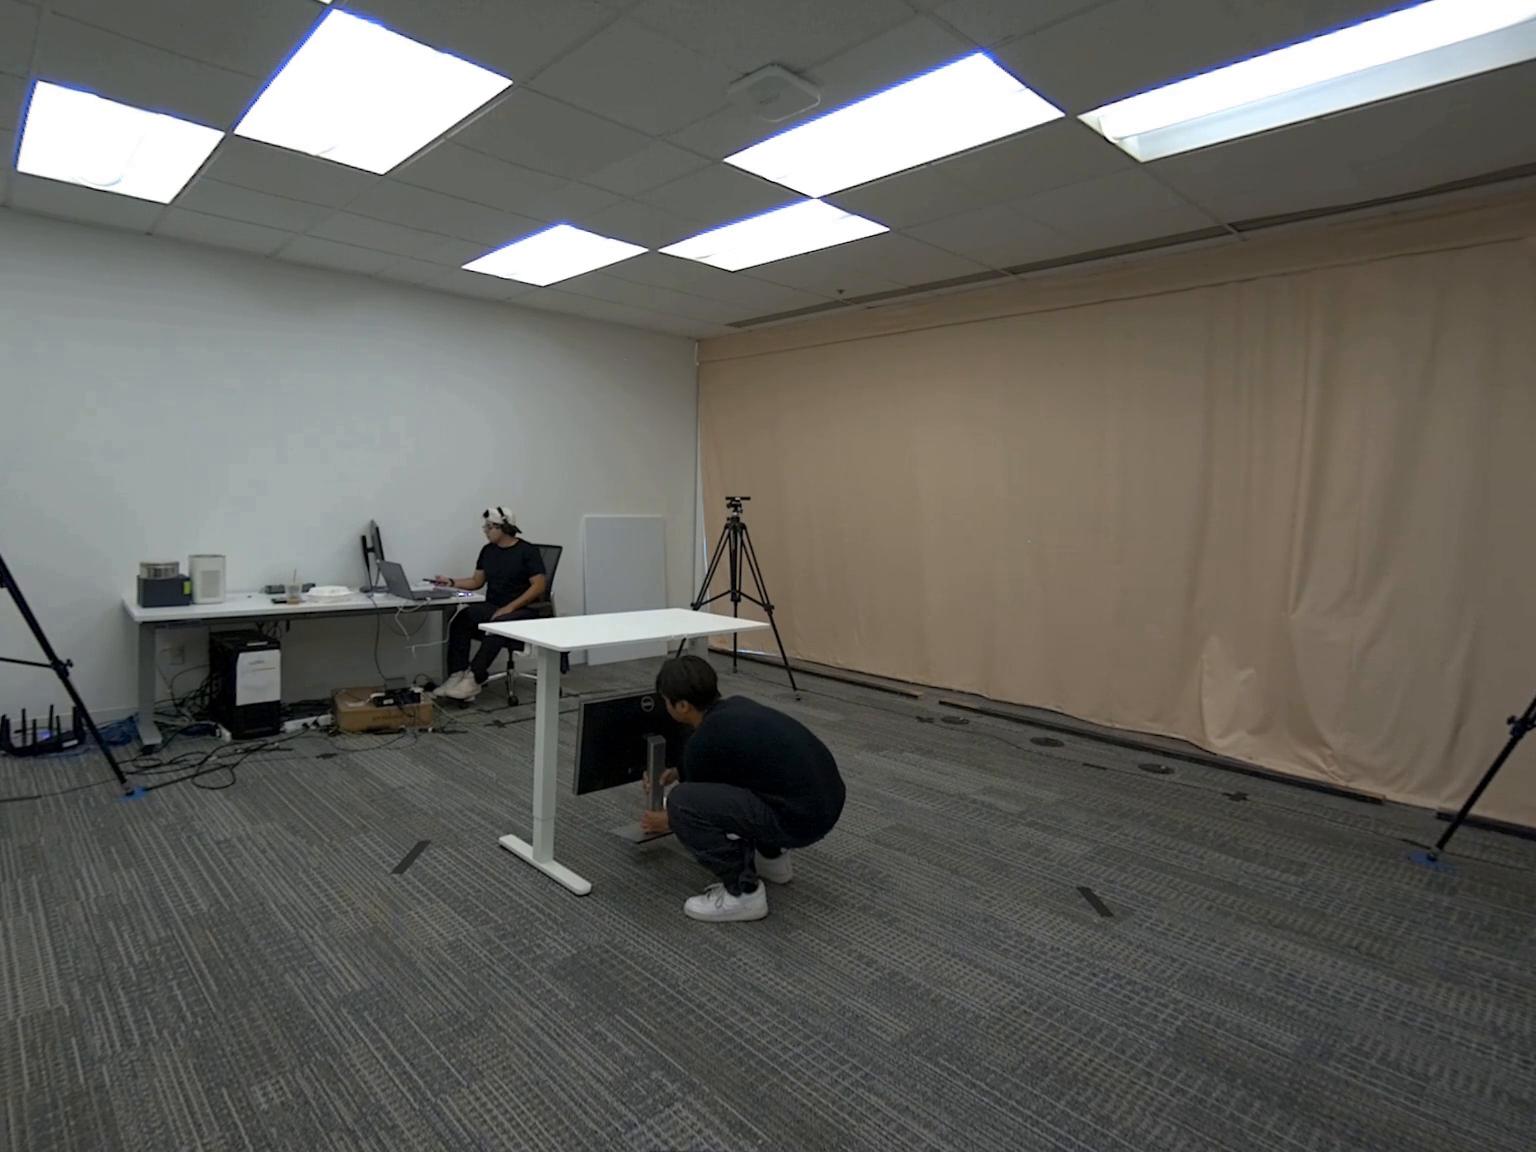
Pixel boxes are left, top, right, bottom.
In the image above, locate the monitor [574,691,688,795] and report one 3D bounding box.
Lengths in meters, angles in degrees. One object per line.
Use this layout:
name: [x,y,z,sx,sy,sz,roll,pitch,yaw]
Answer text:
monitor: [-0.482,0.711,3.255,0.518,0.519,0.177,-2,-8,-42]
